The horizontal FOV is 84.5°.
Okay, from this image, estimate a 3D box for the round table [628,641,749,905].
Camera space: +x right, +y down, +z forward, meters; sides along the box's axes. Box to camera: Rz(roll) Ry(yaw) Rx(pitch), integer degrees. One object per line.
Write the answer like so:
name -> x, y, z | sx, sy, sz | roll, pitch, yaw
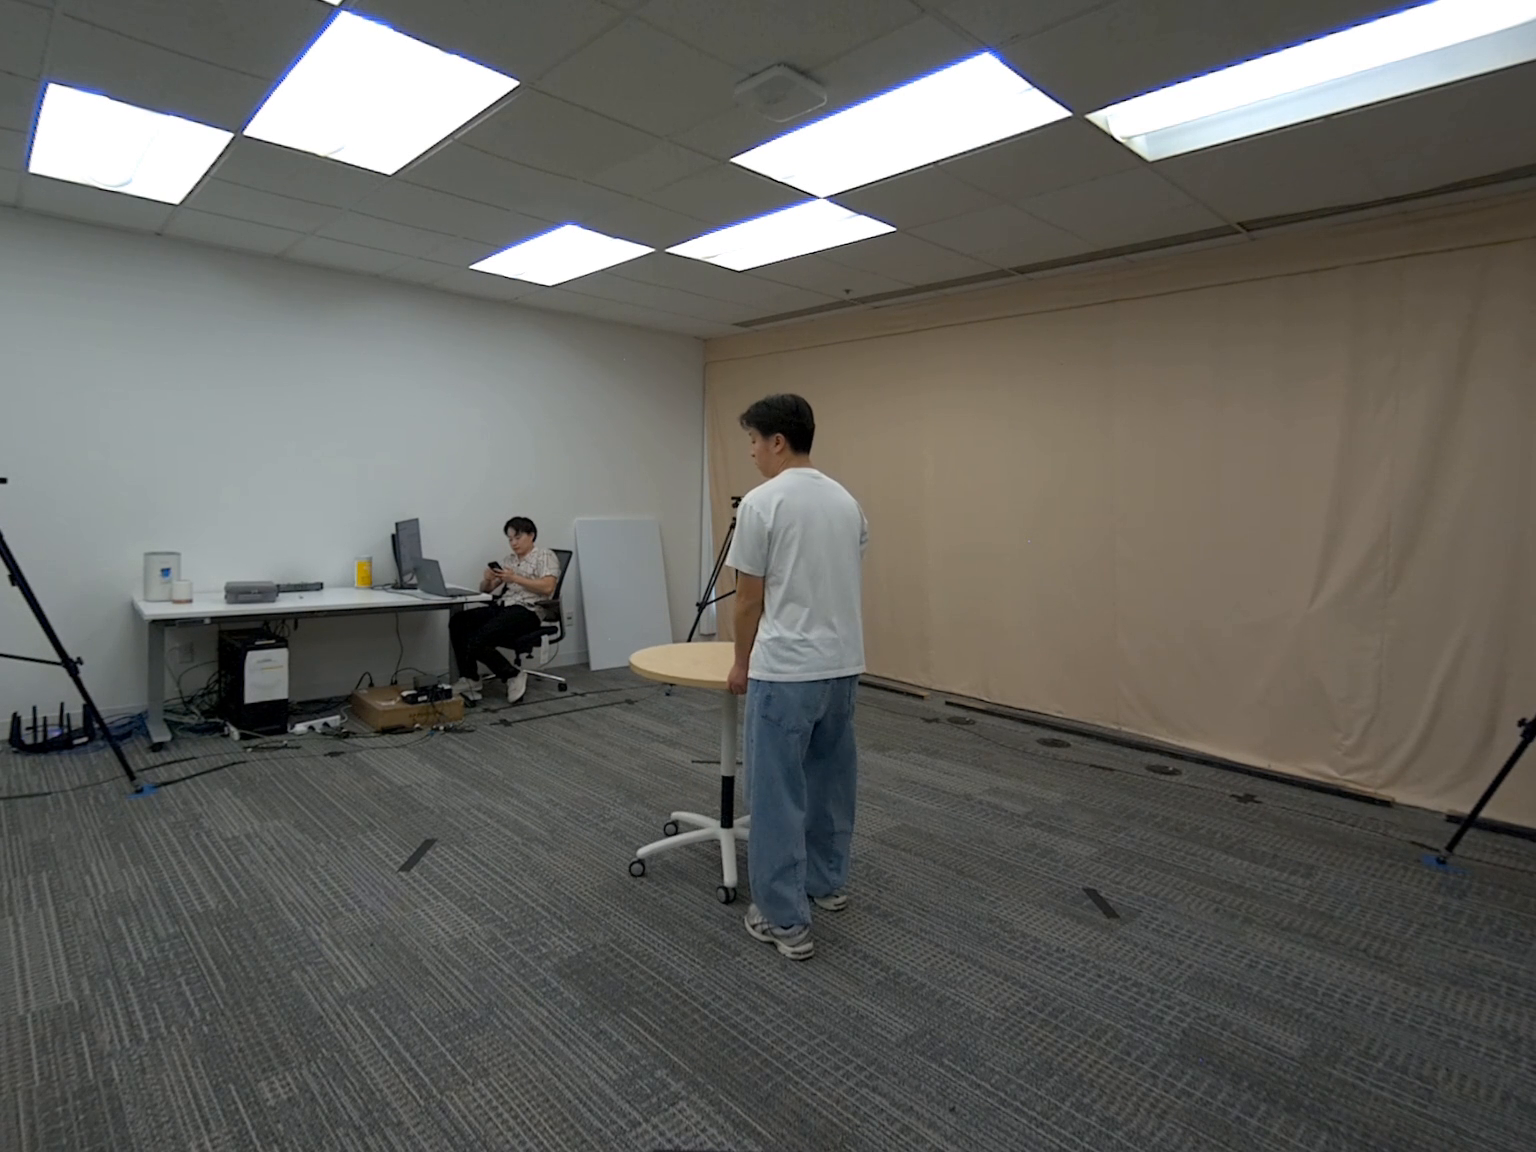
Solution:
round table -> -0.162, 0.710, 3.194 | 0.763, 0.792, 0.766 | 2, 4, -1
